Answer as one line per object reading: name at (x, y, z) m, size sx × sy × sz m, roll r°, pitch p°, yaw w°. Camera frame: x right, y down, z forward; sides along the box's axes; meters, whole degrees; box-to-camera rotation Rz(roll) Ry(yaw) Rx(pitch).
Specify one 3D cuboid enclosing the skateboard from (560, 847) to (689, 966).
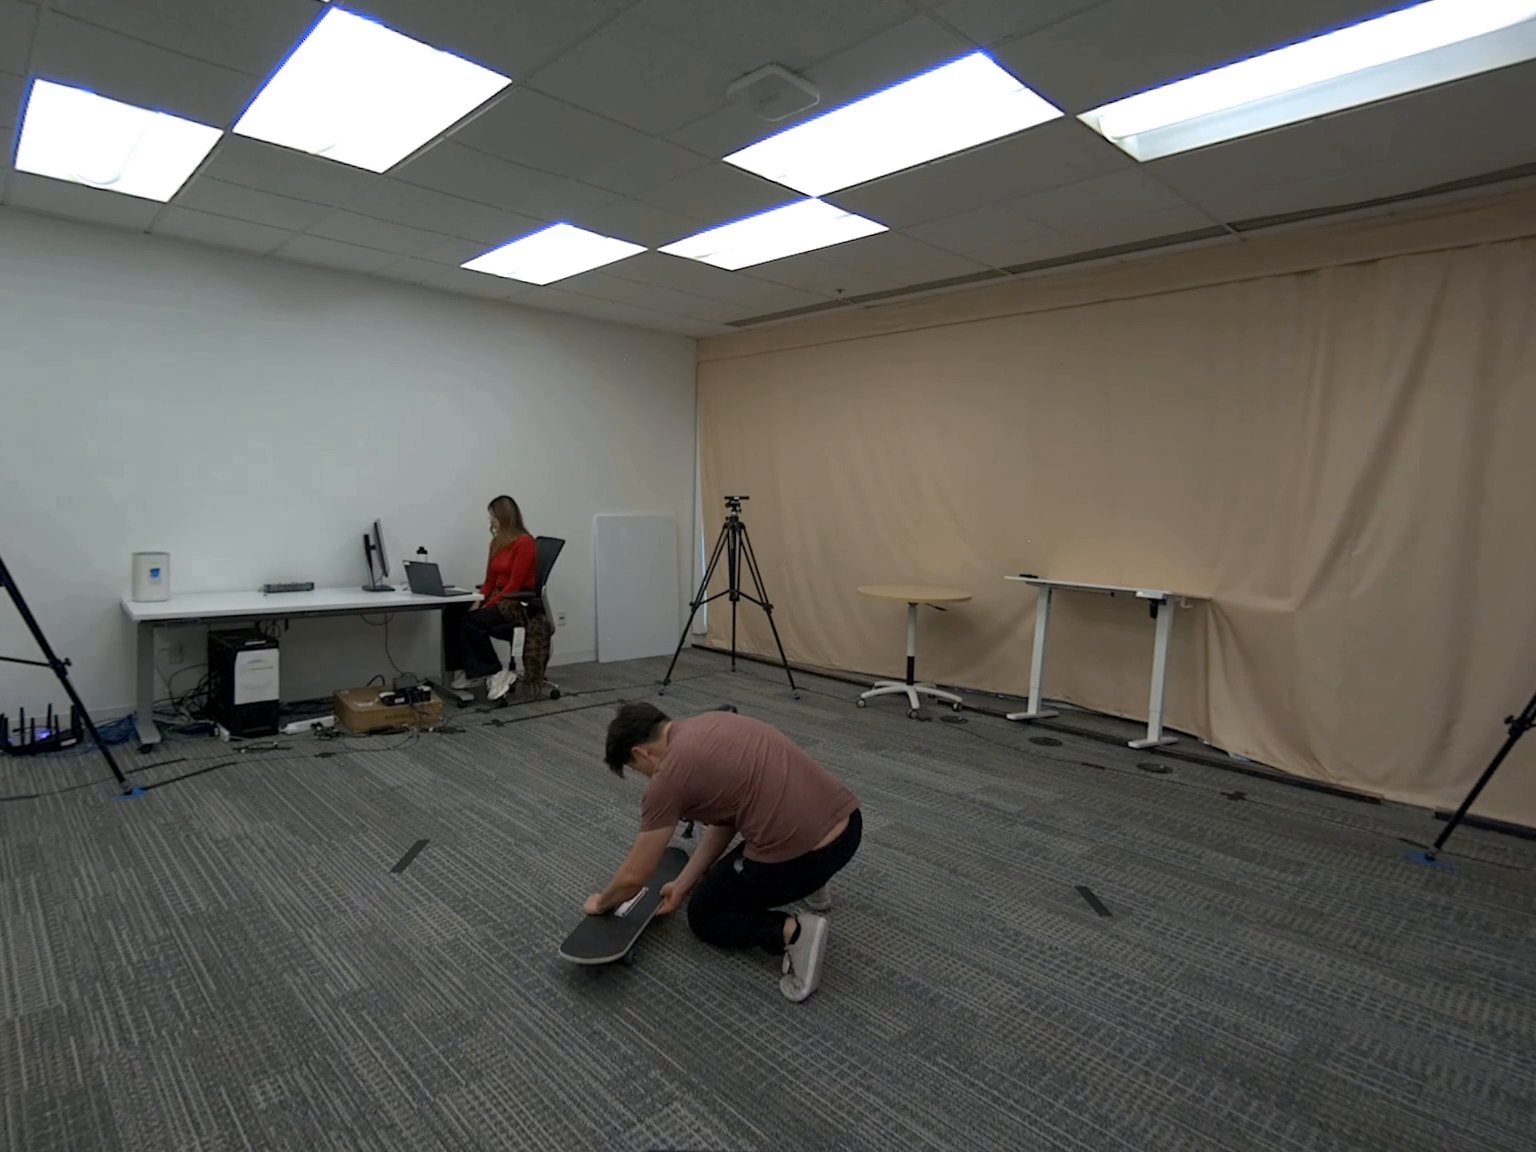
skateboard at (-0.434, 1.064, 2.719) m, size 0.196 × 0.110 × 0.778 m, roll 1°, pitch 5°, yaw 15°
